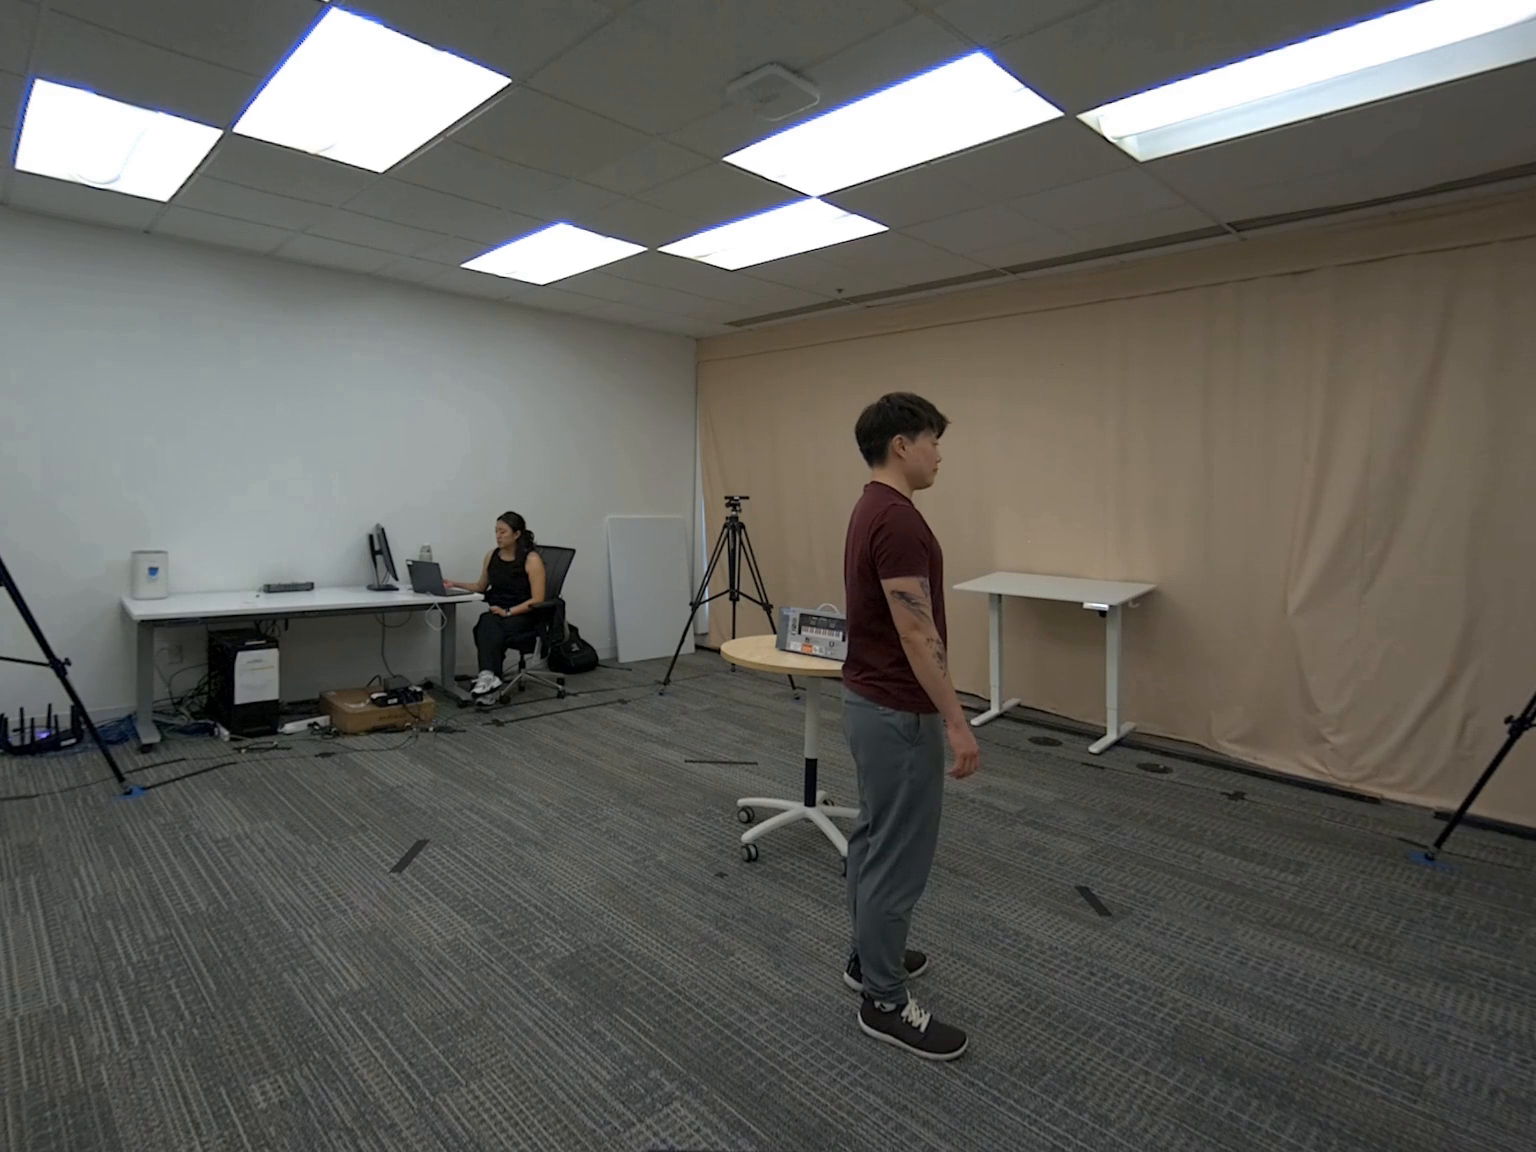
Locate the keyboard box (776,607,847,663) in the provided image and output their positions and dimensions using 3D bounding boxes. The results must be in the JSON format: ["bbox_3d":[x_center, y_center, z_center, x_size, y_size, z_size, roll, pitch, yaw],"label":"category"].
[{"bbox_3d":[0.222,0.231,3.280,0.448,0.176,0.057,6,-1,39],"label":"keyboard box"}]
